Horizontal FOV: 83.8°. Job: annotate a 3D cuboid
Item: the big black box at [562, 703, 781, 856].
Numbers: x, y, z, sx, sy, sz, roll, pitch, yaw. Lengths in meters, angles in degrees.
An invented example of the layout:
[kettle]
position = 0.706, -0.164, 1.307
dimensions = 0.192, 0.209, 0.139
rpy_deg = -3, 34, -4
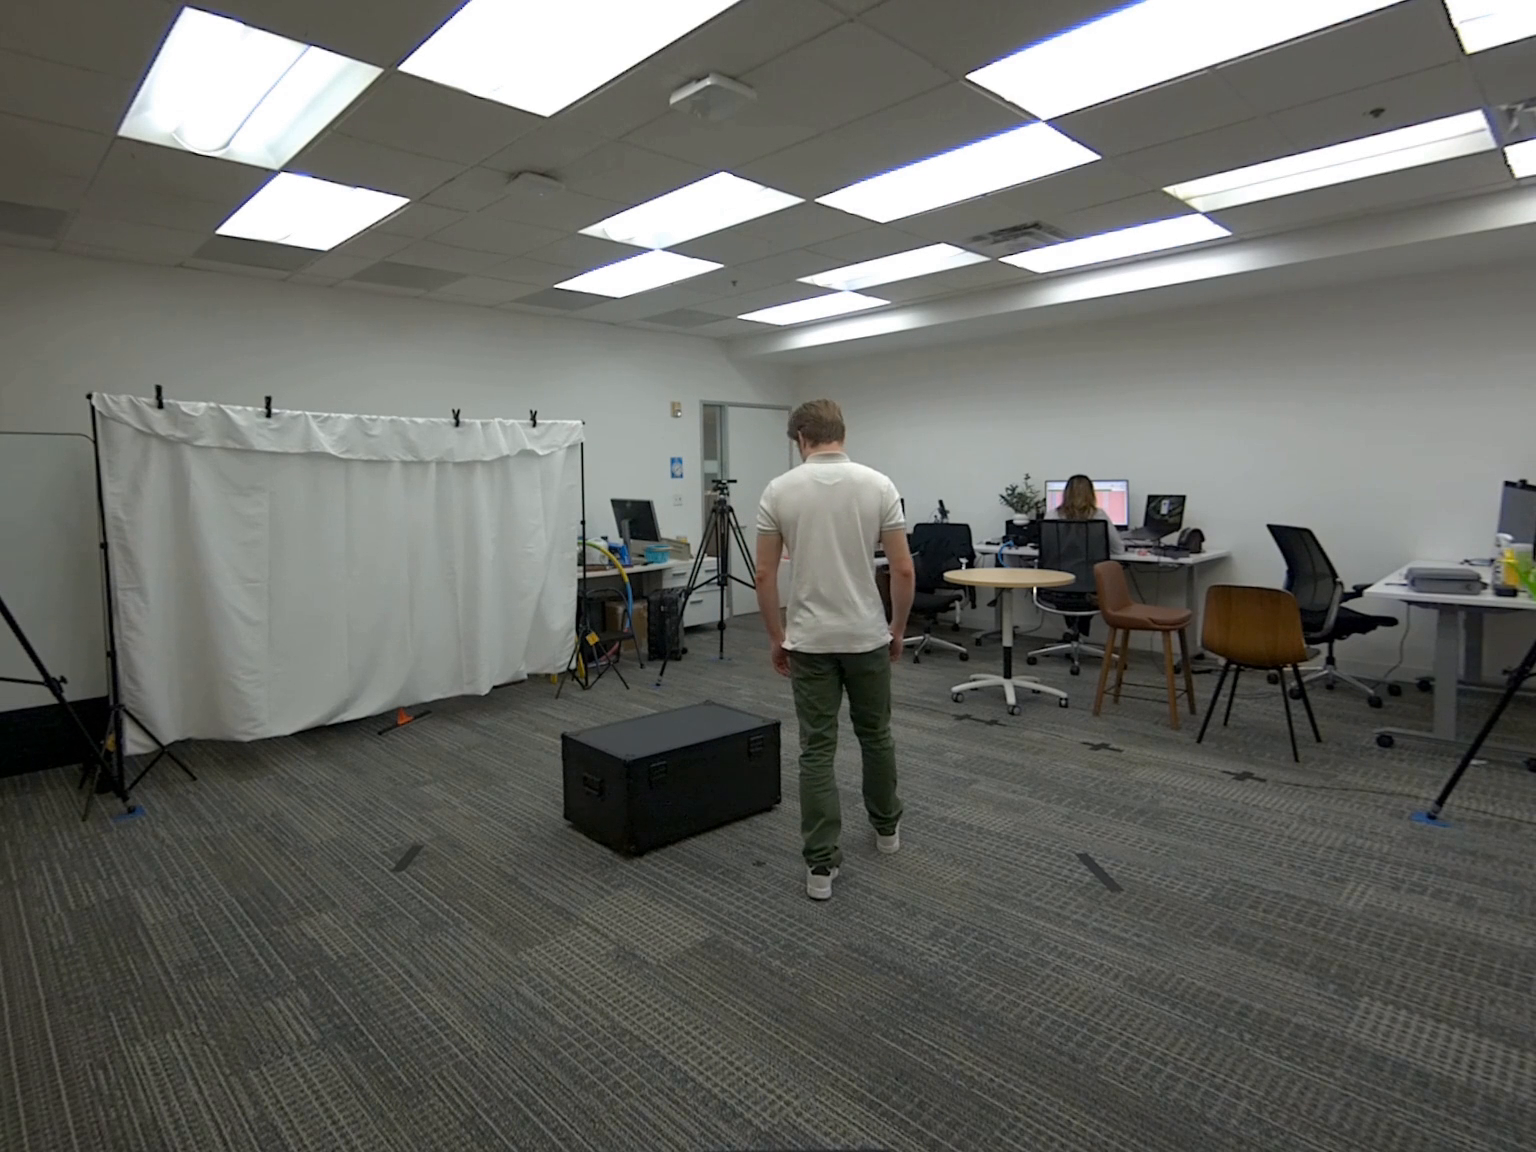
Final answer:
[big black box]
position = -0.368, 0.812, 3.578
dimensions = 0.839, 0.394, 0.537
rpy_deg = -7, 8, -41
